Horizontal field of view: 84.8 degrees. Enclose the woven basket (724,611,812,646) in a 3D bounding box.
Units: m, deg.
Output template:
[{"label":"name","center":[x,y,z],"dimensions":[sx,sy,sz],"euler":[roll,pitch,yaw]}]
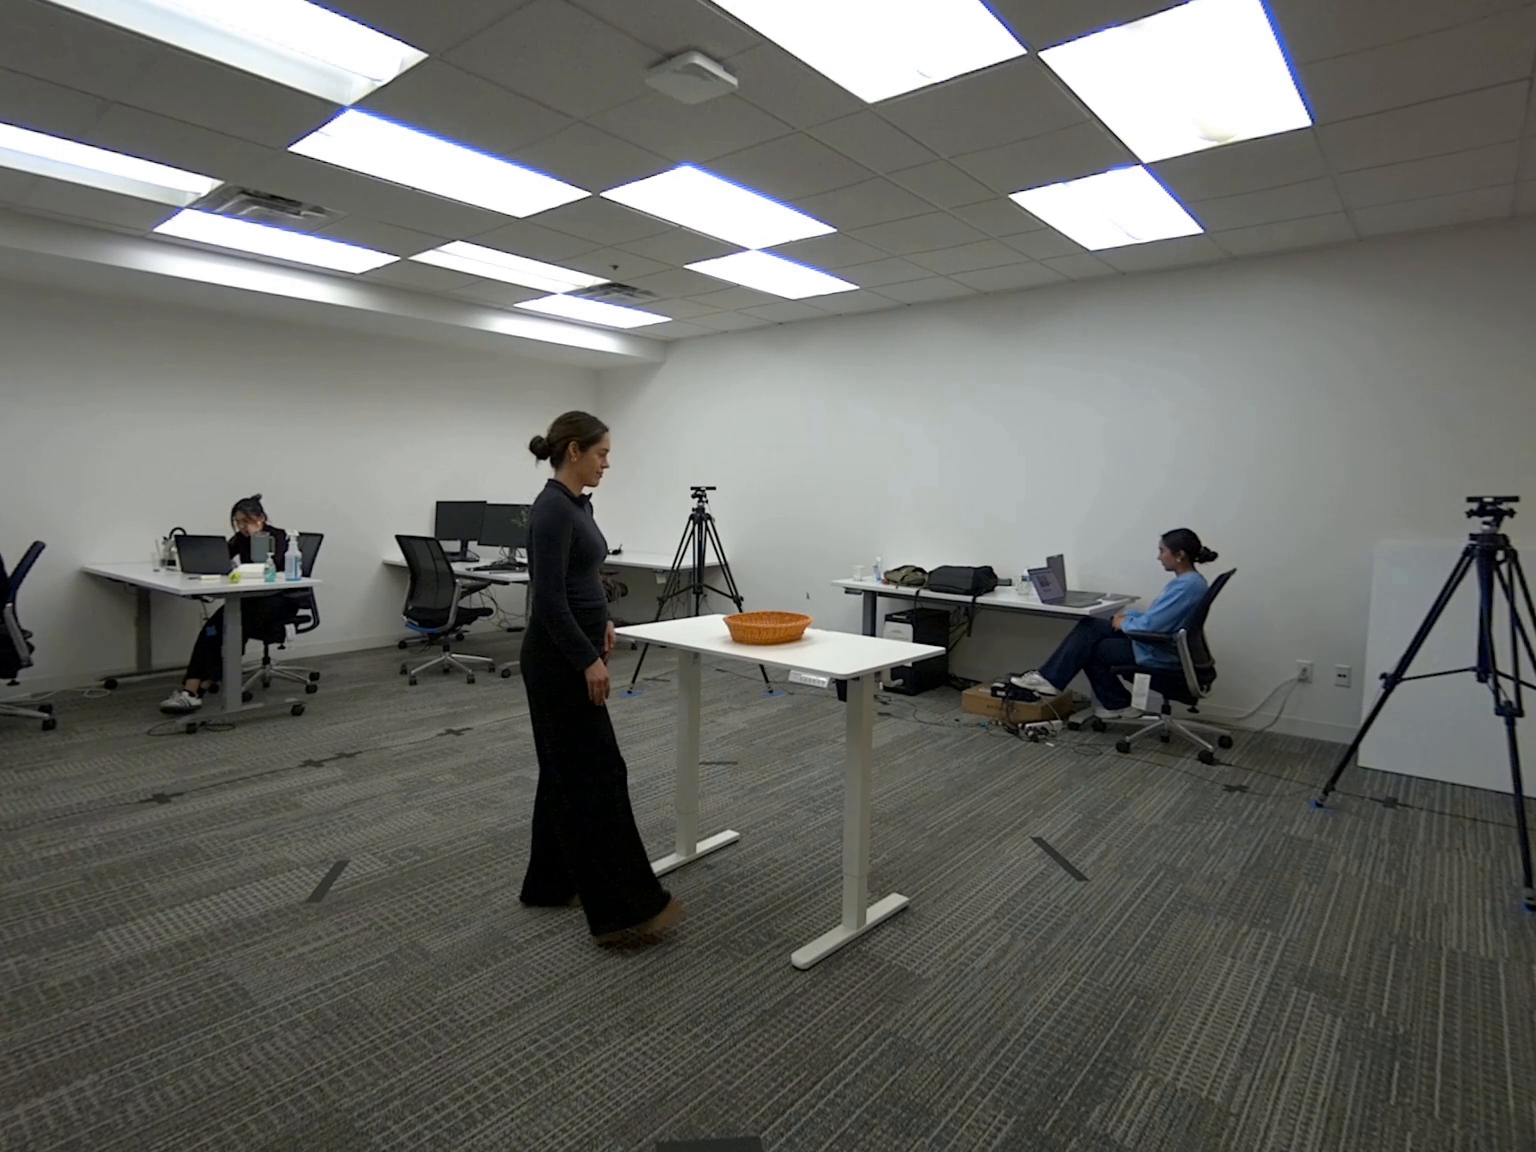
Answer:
[{"label":"woven basket","center":[-0.005,0.181,2.873],"dimensions":[0.261,0.073,0.340],"euler":[7,7,44]}]
